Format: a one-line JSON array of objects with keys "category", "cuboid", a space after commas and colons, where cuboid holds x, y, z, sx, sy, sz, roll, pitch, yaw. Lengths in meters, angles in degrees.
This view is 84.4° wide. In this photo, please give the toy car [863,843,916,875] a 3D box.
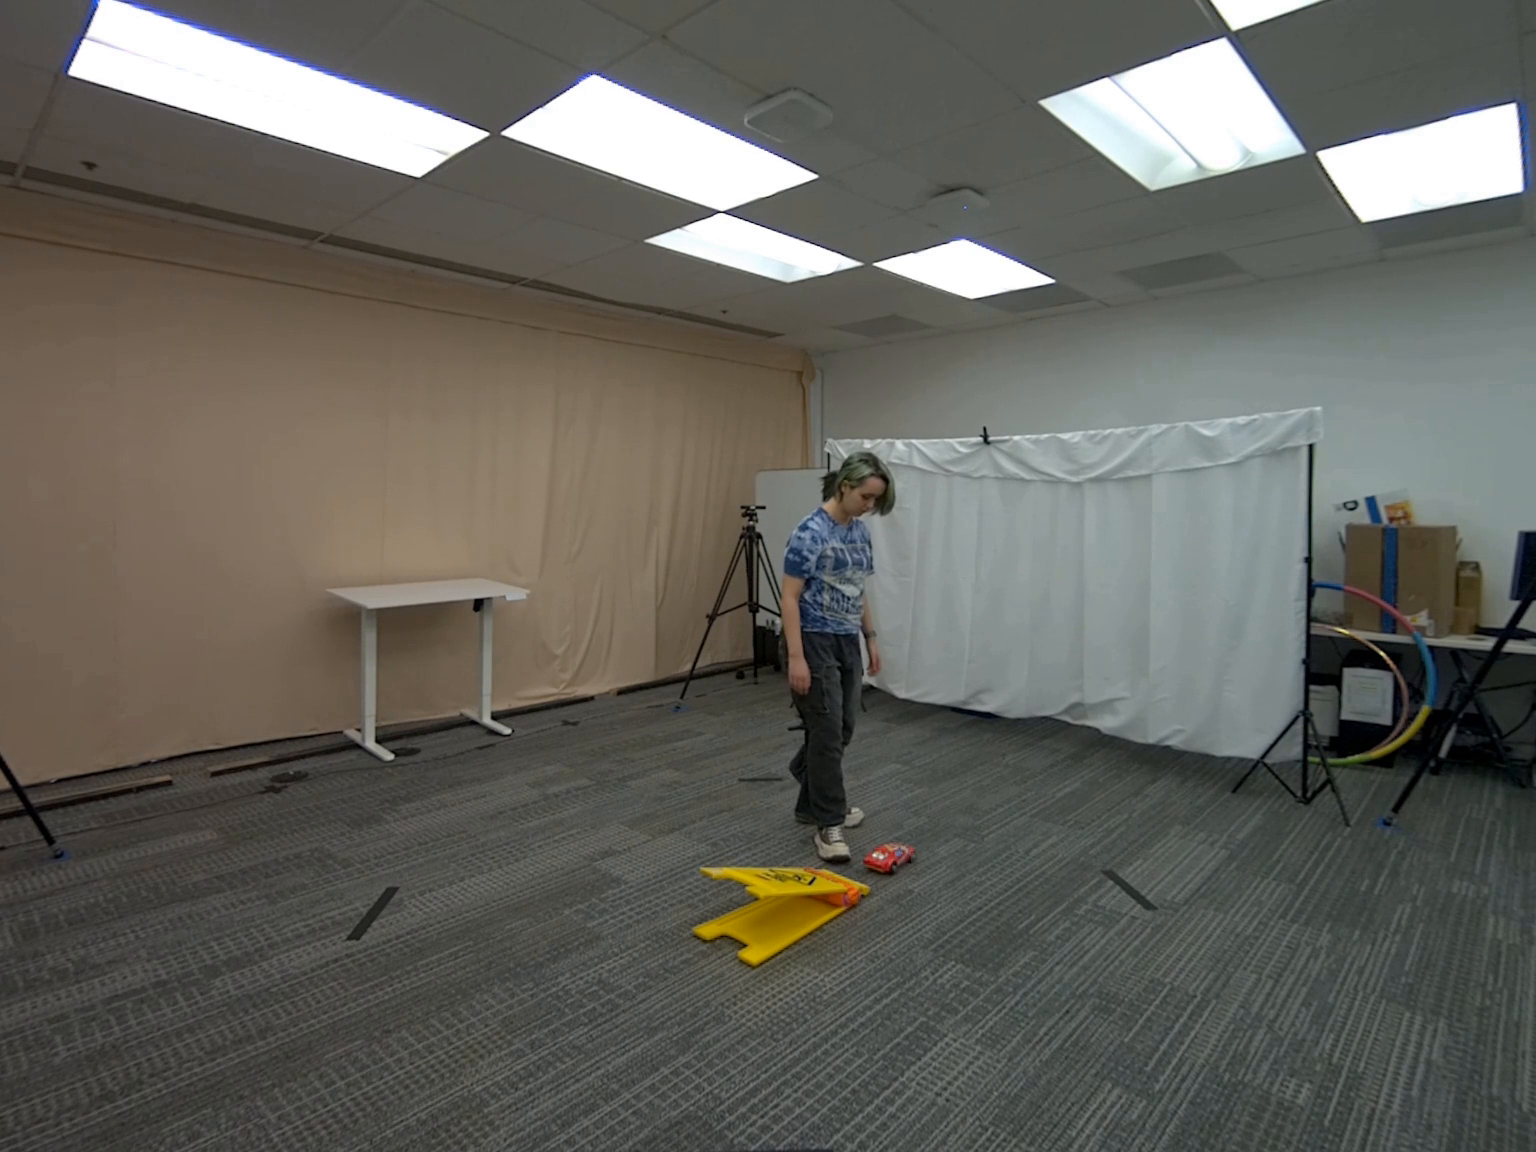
[{"category": "toy car", "cuboid": [0.468, 1.088, 3.254, 0.134, 0.083, 0.246, 4, -5, 41]}]
